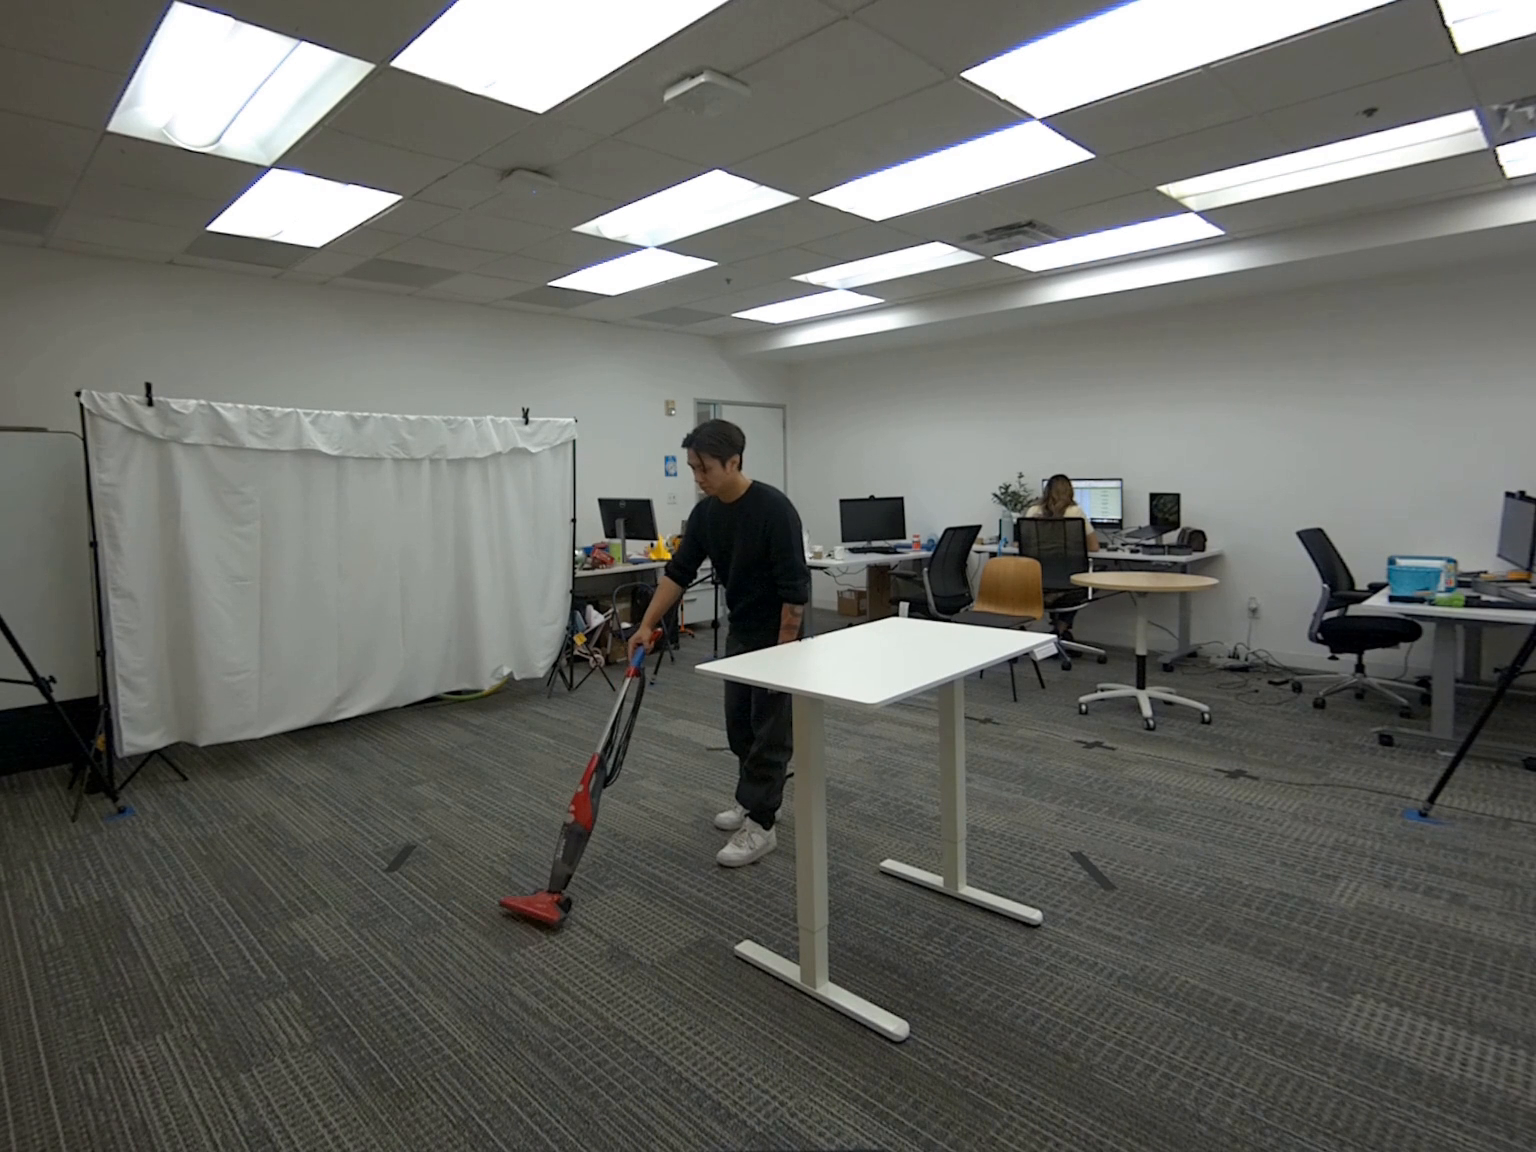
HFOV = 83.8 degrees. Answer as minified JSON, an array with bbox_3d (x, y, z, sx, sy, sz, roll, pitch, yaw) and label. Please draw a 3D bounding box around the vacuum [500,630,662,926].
[{"bbox_3d":[-0.571,0.656,3.010,0.259,1.062,0.138,0,-36,33],"label":"vacuum"}]
